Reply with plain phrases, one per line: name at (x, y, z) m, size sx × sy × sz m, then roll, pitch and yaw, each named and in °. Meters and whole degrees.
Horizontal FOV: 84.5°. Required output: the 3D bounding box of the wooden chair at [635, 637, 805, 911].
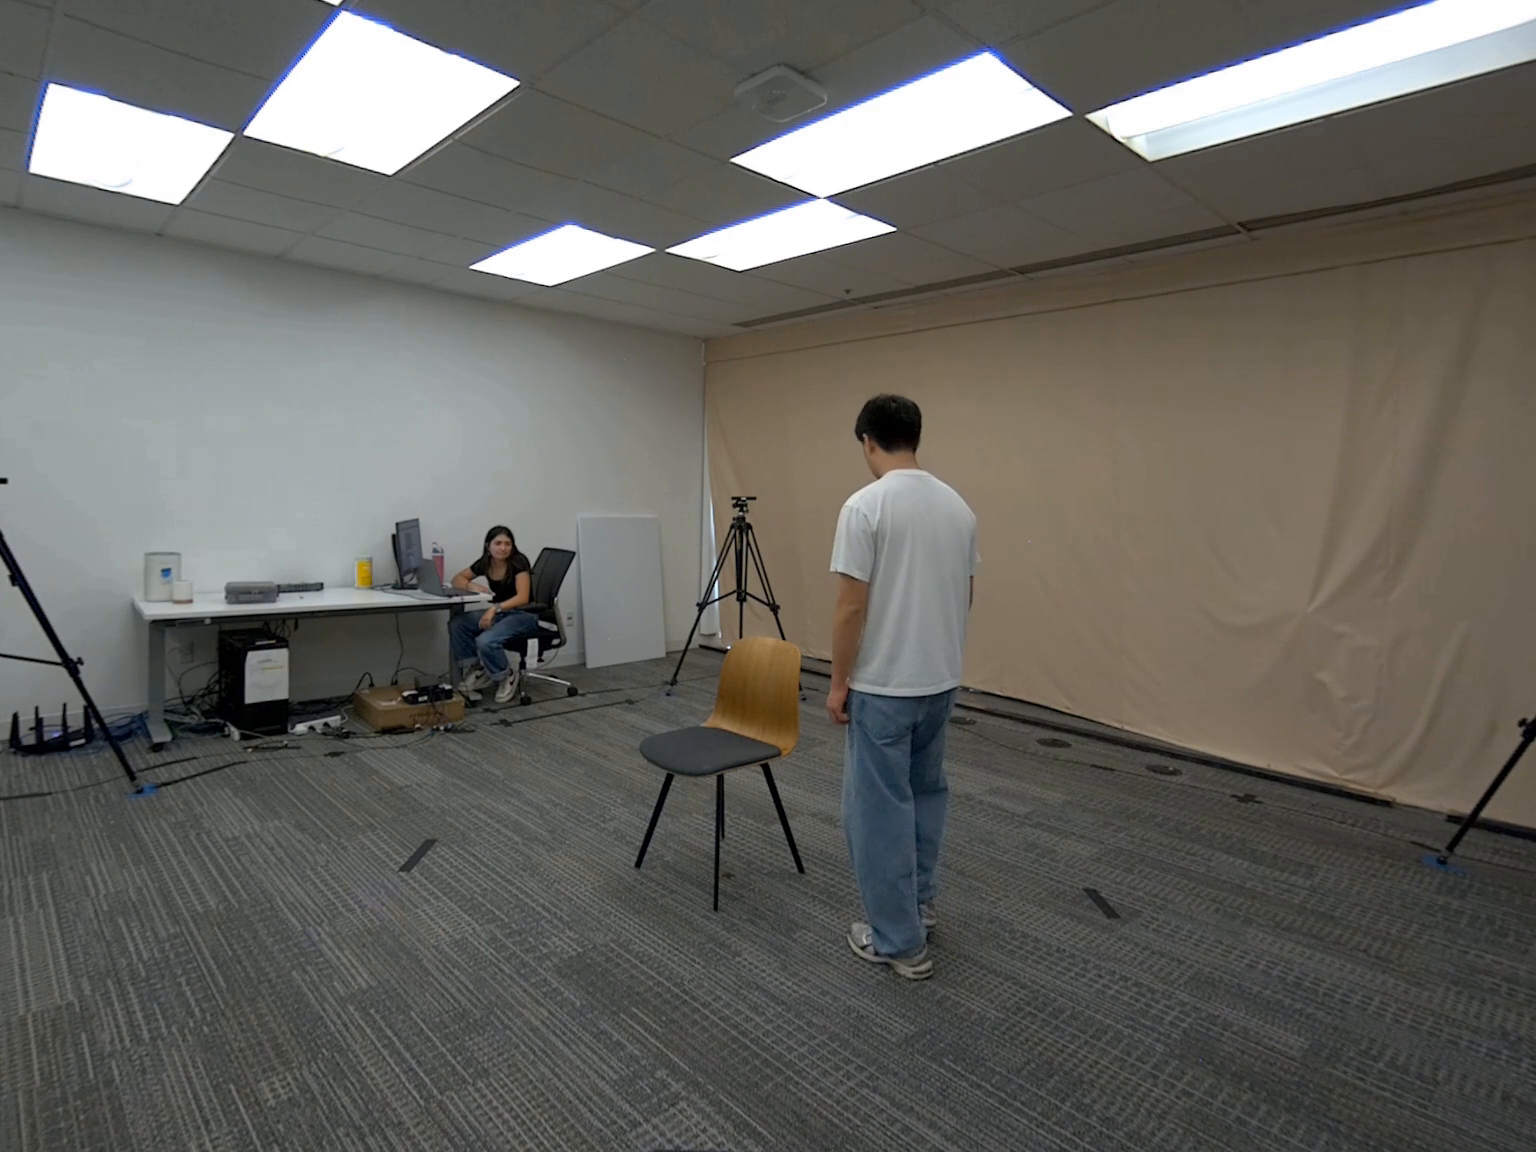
wooden chair at (-0.182, 0.677, 3.112) m, size 0.510 × 0.877 × 0.490 m, roll 4°, pitch 0°, yaw -45°
